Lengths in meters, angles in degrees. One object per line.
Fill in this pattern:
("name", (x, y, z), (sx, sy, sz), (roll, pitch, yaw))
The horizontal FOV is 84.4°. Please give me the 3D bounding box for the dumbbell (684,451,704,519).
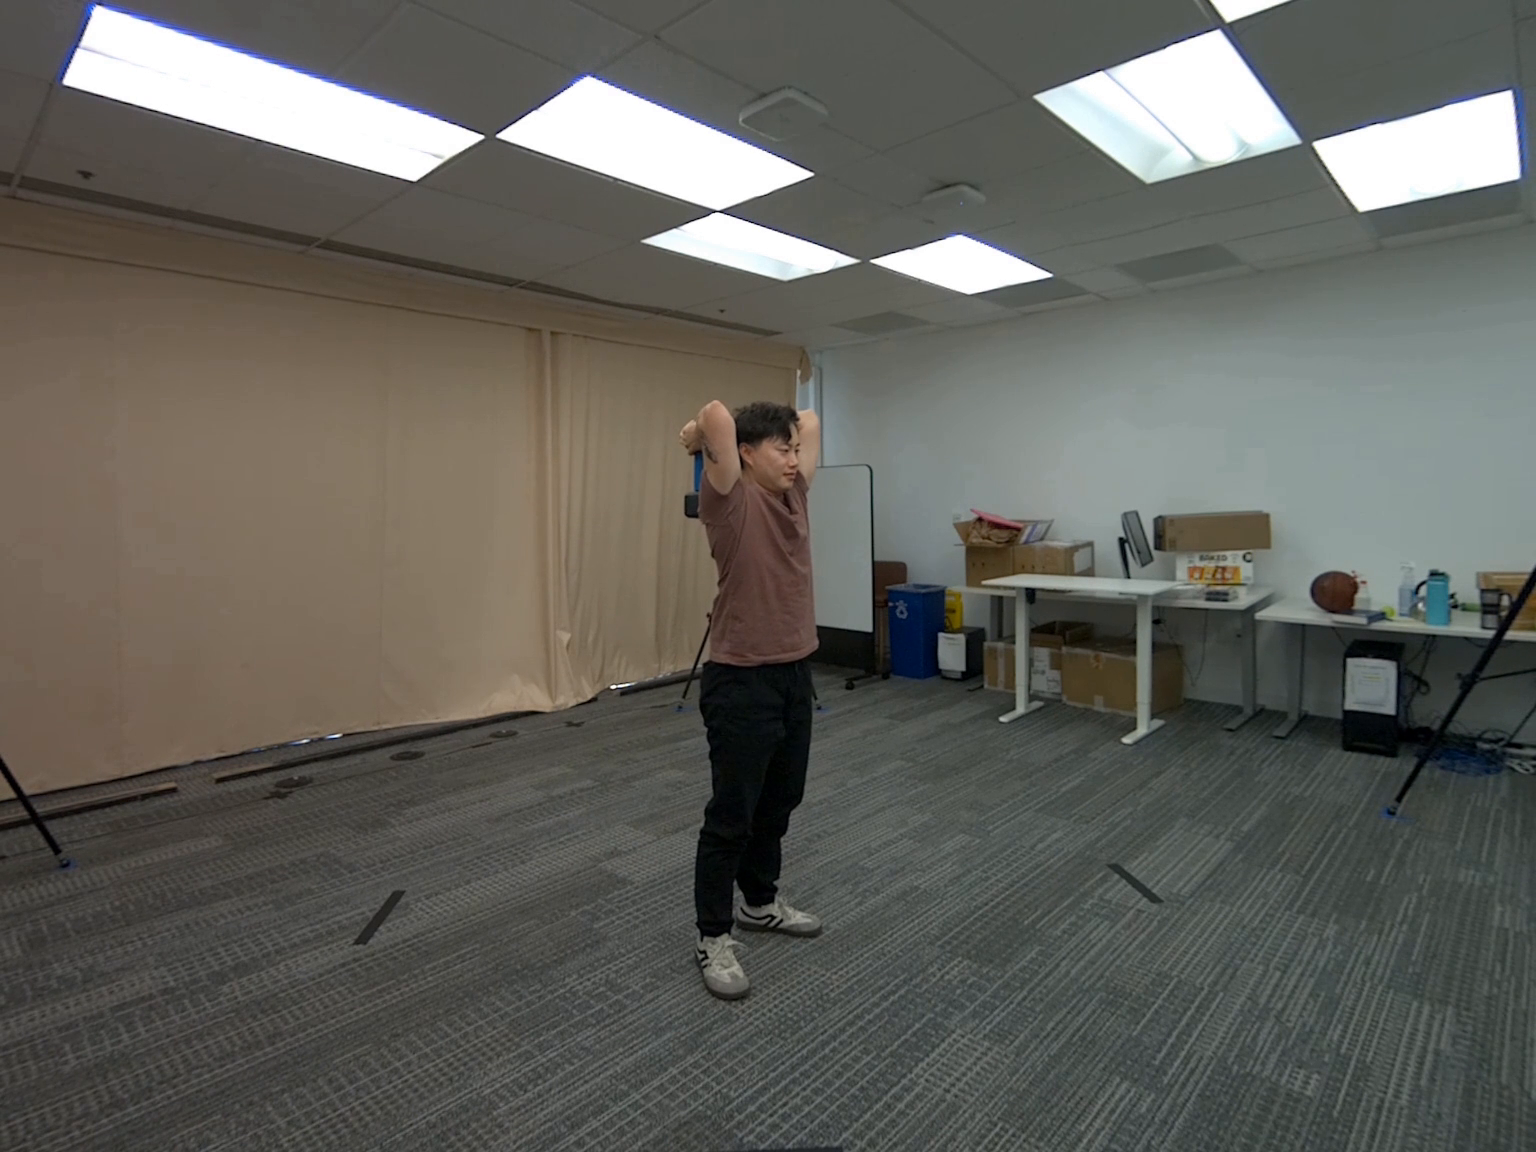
("dumbbell", (-0.196, -0.329, 2.662), (0.127, 0.293, 0.105), (4, 2, 41))
